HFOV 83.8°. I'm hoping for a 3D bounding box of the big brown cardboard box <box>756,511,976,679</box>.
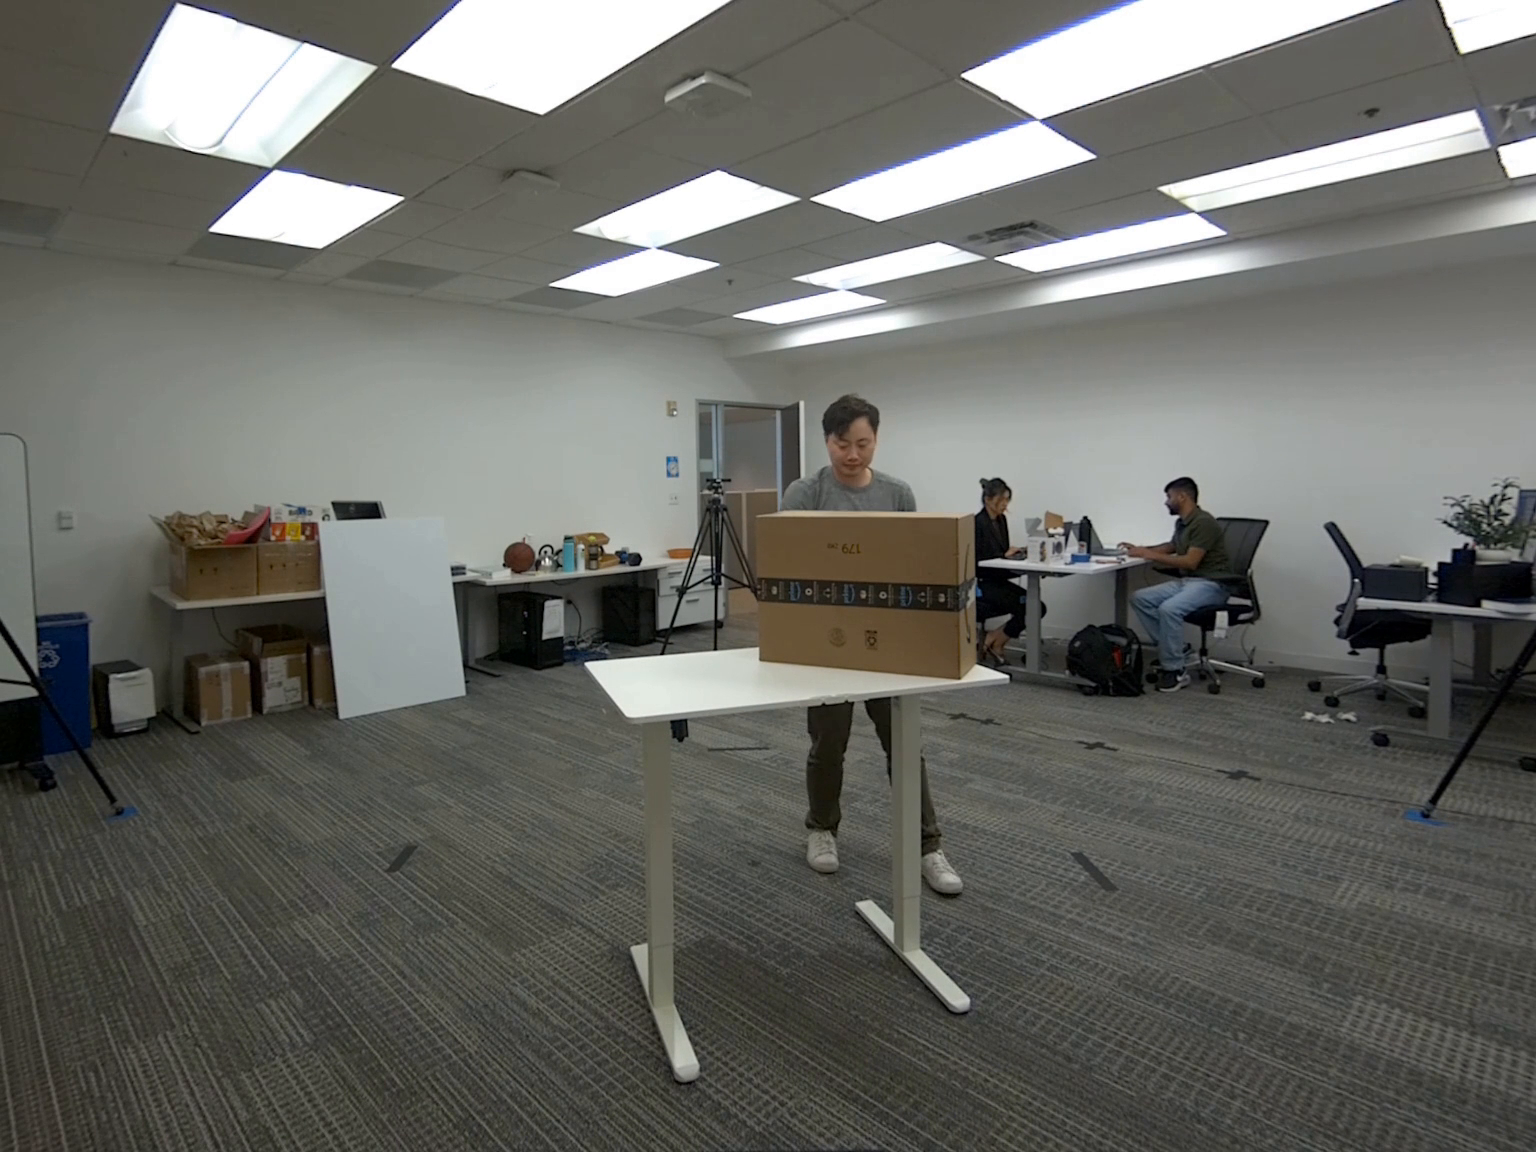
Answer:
[{"bbox_3d":[0.258,0.039,2.376,0.603,0.415,0.228,3,6,27],"label":"big brown cardboard box"}]
